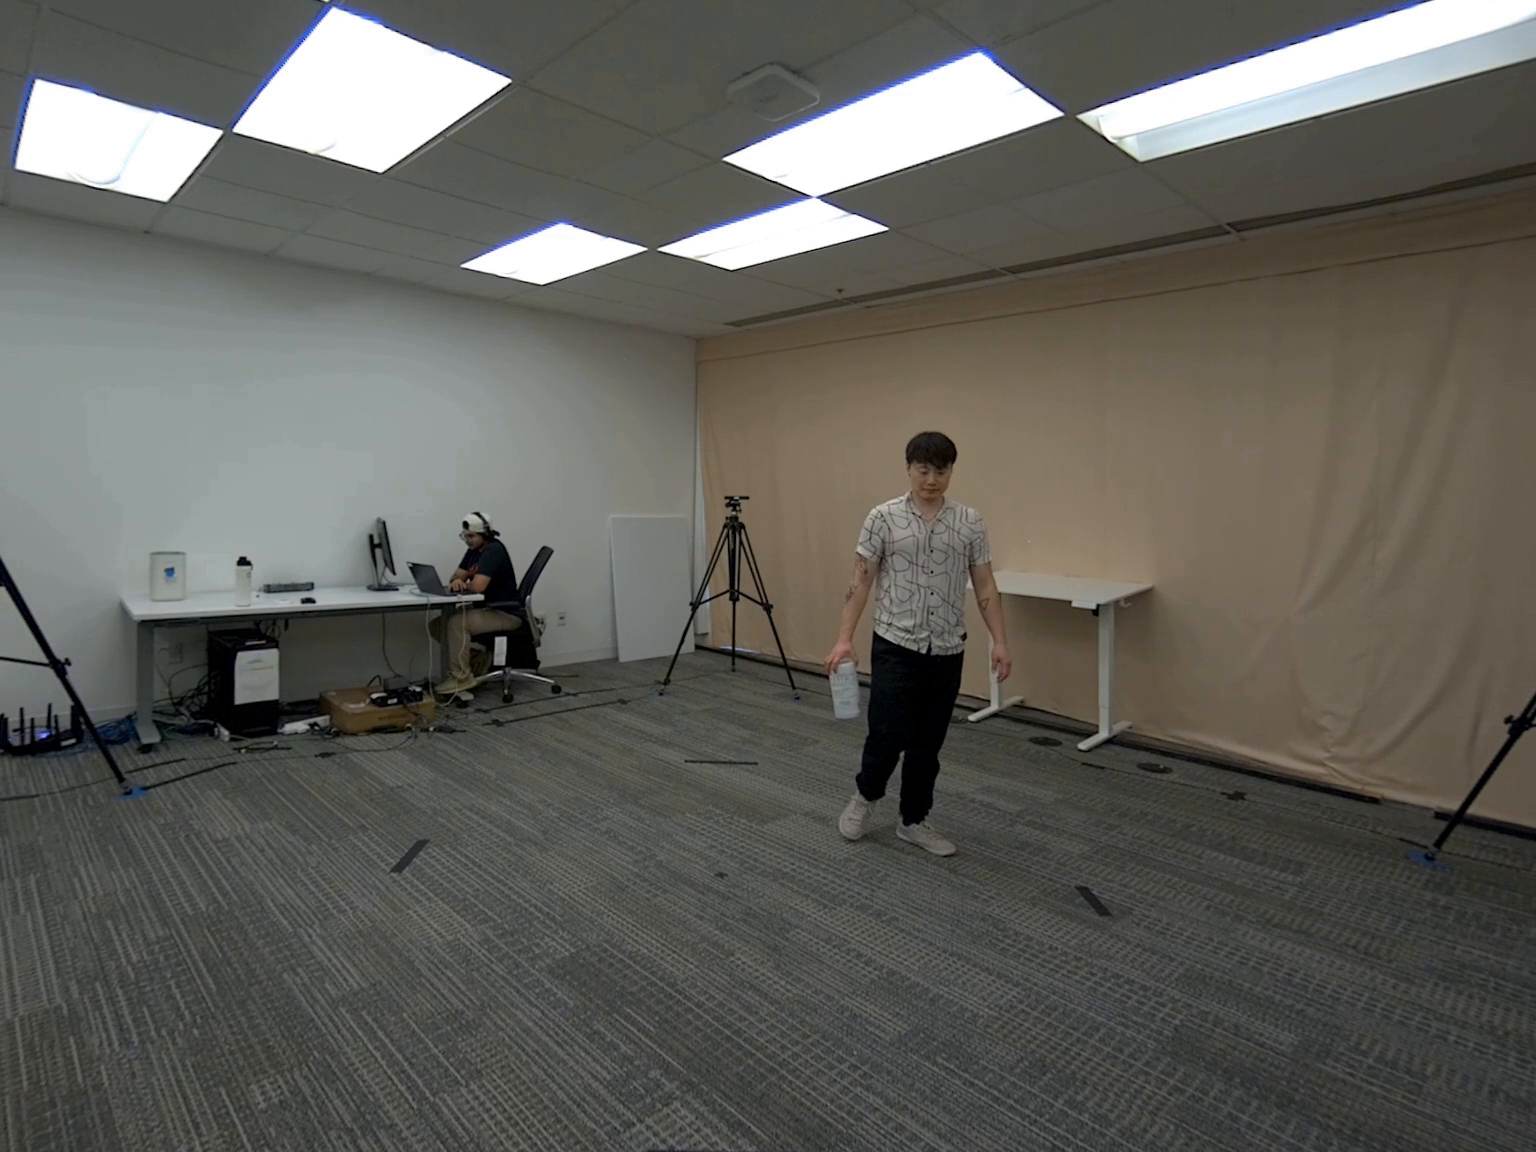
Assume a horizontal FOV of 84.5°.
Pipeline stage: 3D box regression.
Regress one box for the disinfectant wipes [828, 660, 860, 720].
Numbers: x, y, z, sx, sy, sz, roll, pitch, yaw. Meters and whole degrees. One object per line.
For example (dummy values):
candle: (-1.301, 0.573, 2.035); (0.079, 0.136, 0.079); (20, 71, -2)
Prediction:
disinfectant wipes: (0.300, 0.447, 3.319); (0.118, 0.217, 0.118); (-8, 2, -1)
